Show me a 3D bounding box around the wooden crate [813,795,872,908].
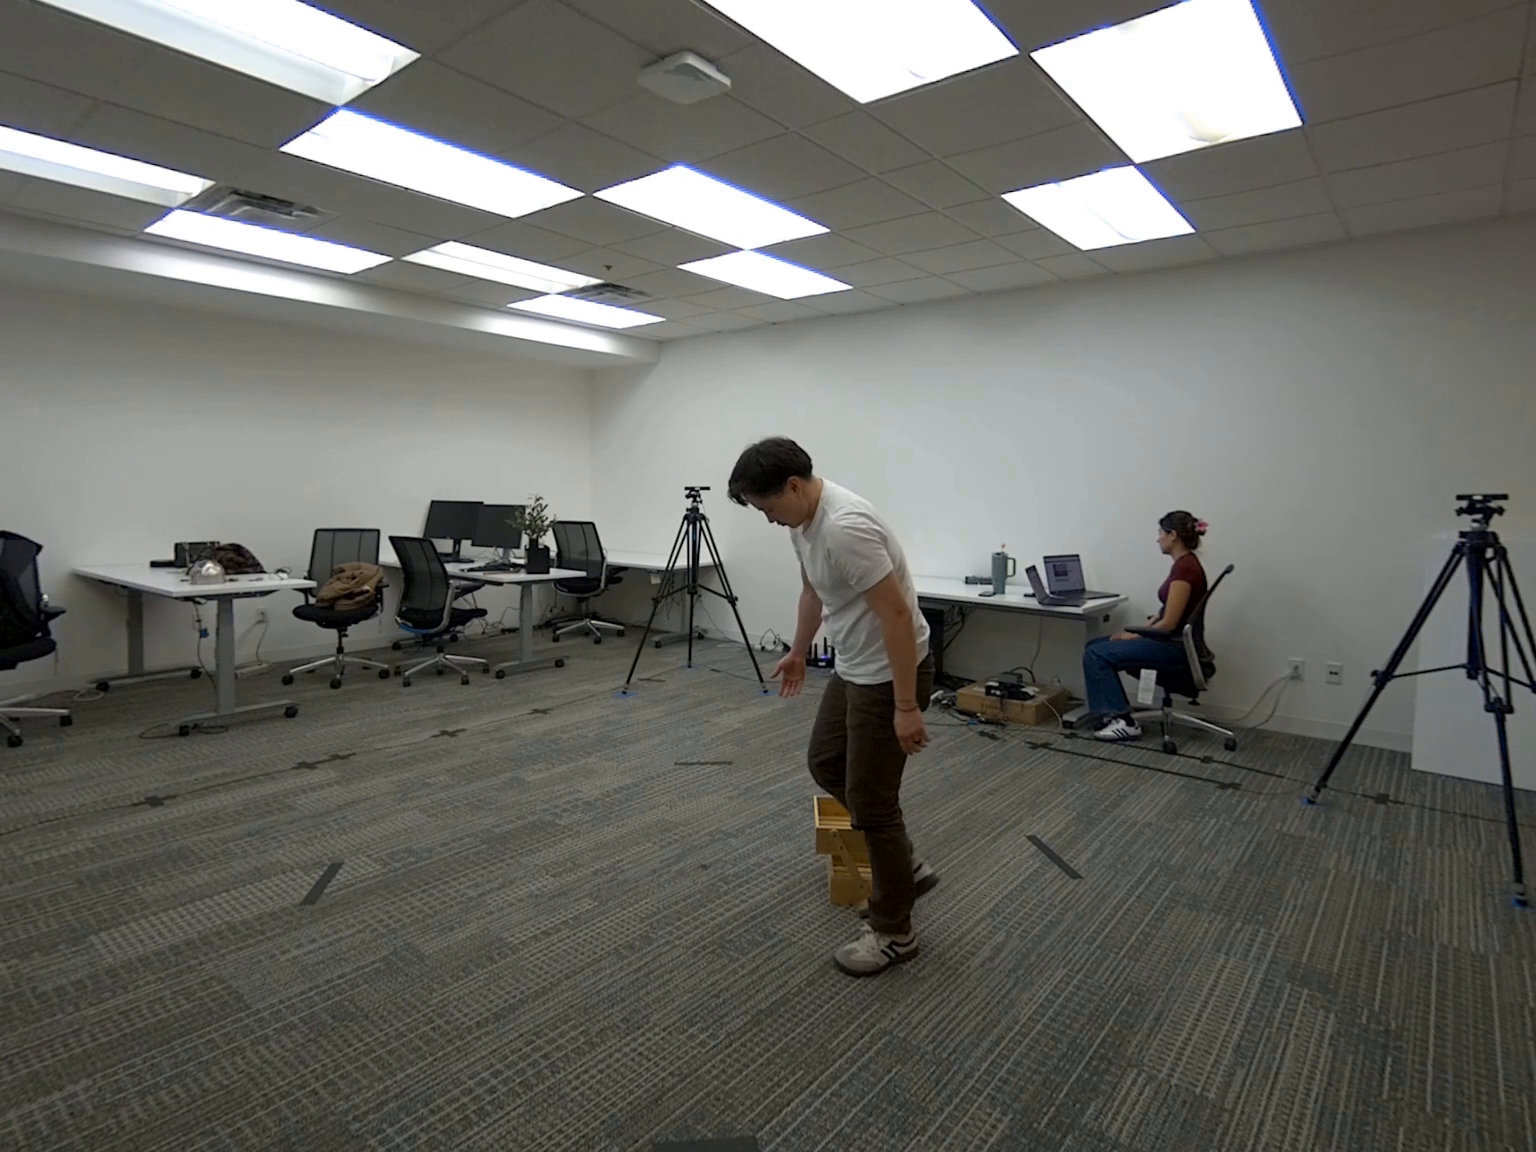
[{"bbox_3d":[0.313,0.951,2.990,0.303,0.272,0.324,1,5,3],"label":"wooden crate"}]
